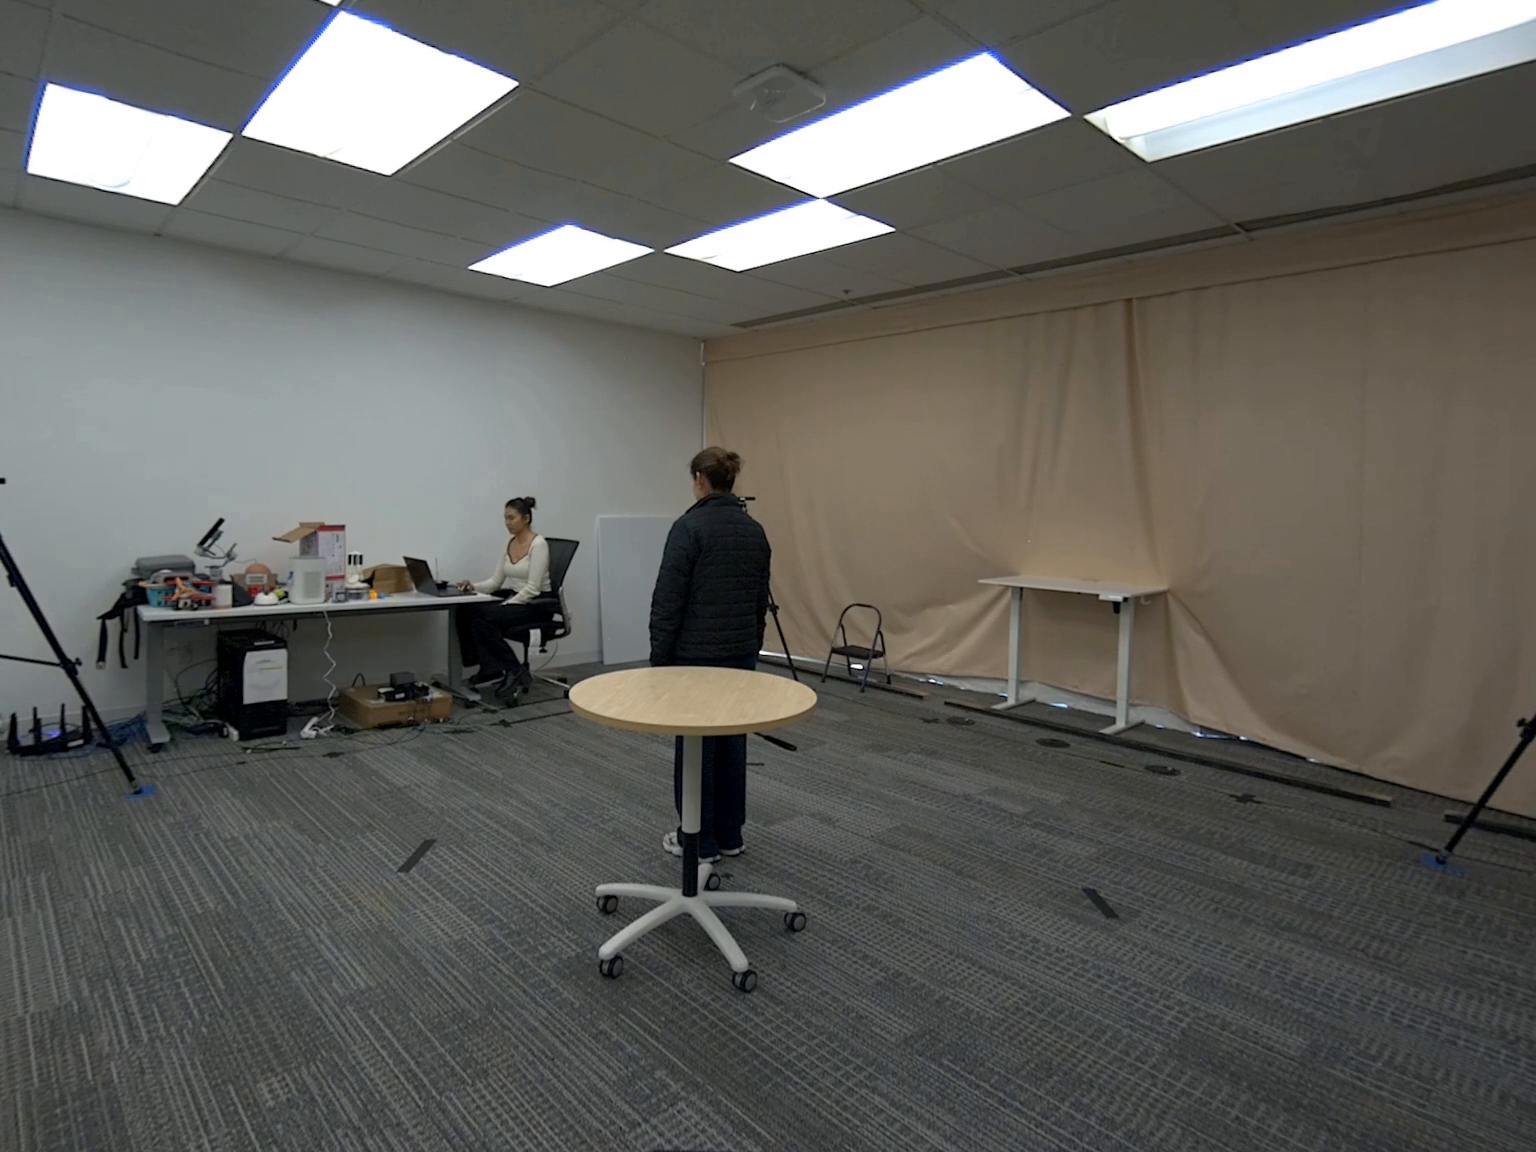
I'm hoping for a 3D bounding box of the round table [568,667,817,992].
[{"bbox_3d":[-0.237,0.755,2.635,0.784,0.784,0.788,1,5,-1],"label":"round table"}]
